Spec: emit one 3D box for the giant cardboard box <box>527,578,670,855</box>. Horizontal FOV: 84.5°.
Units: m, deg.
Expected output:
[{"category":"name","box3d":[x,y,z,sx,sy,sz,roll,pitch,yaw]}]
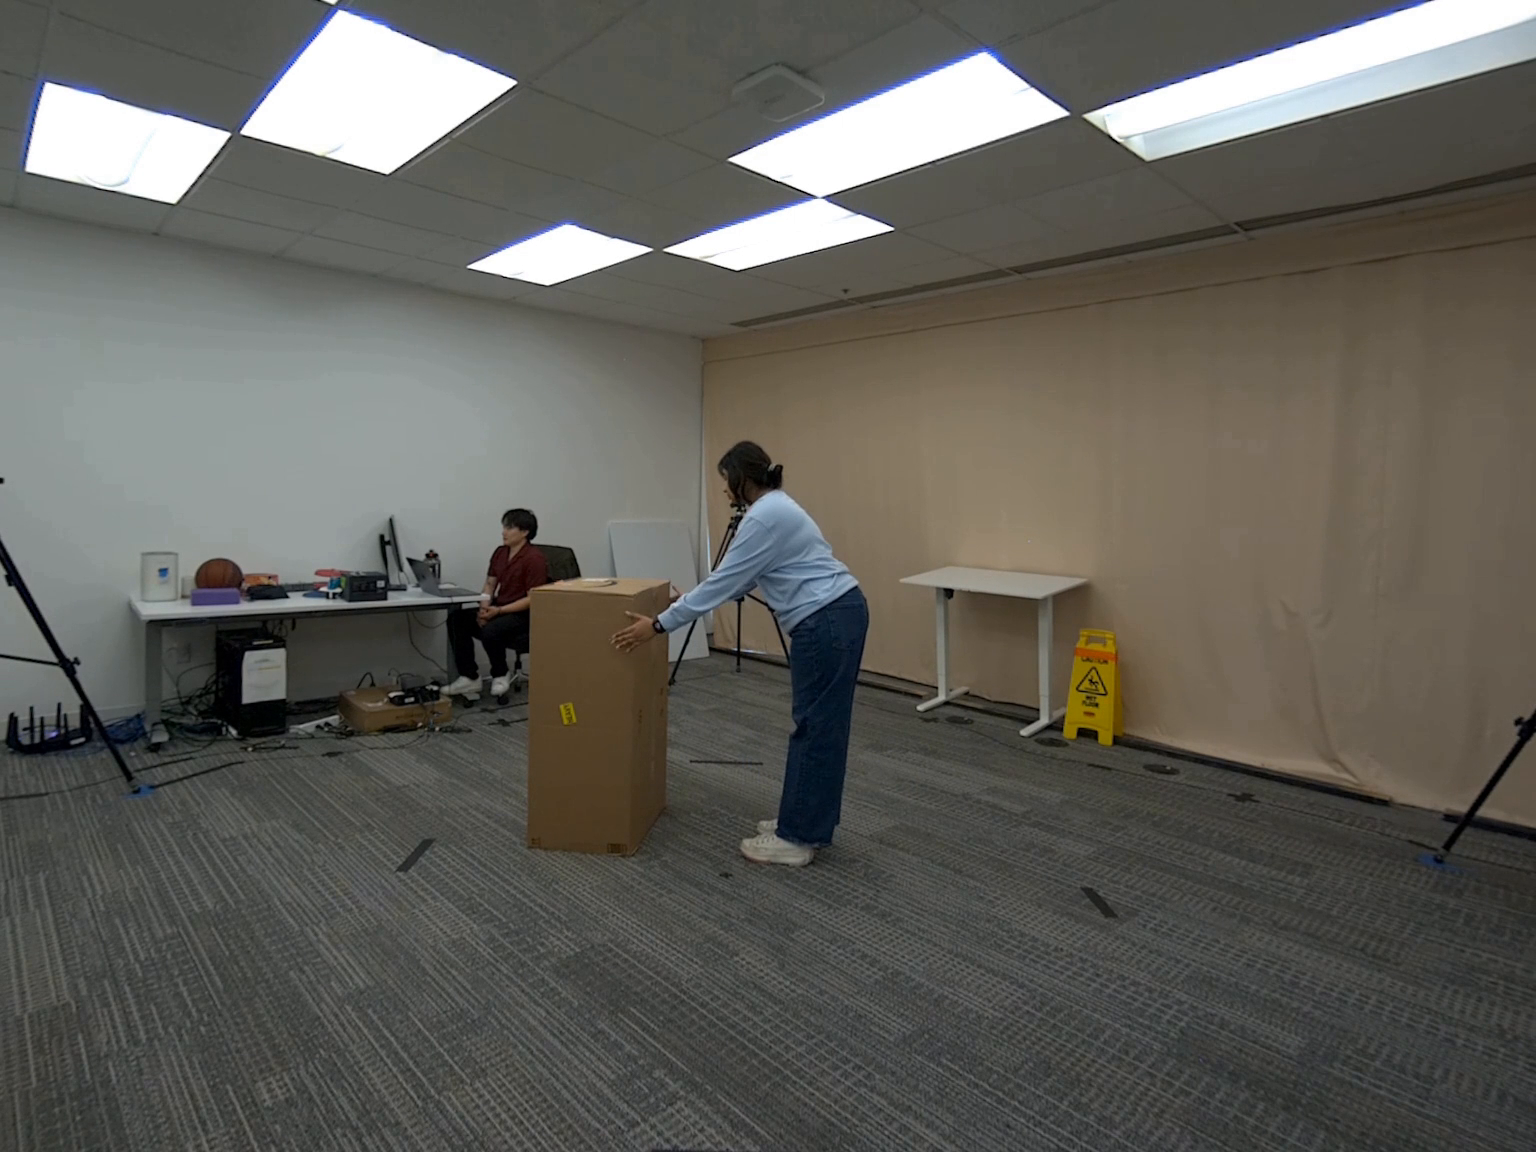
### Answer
[{"category":"giant cardboard box","box3d":[-0.697,0.540,3.530,0.430,1.024,0.574,2,3,9]}]
